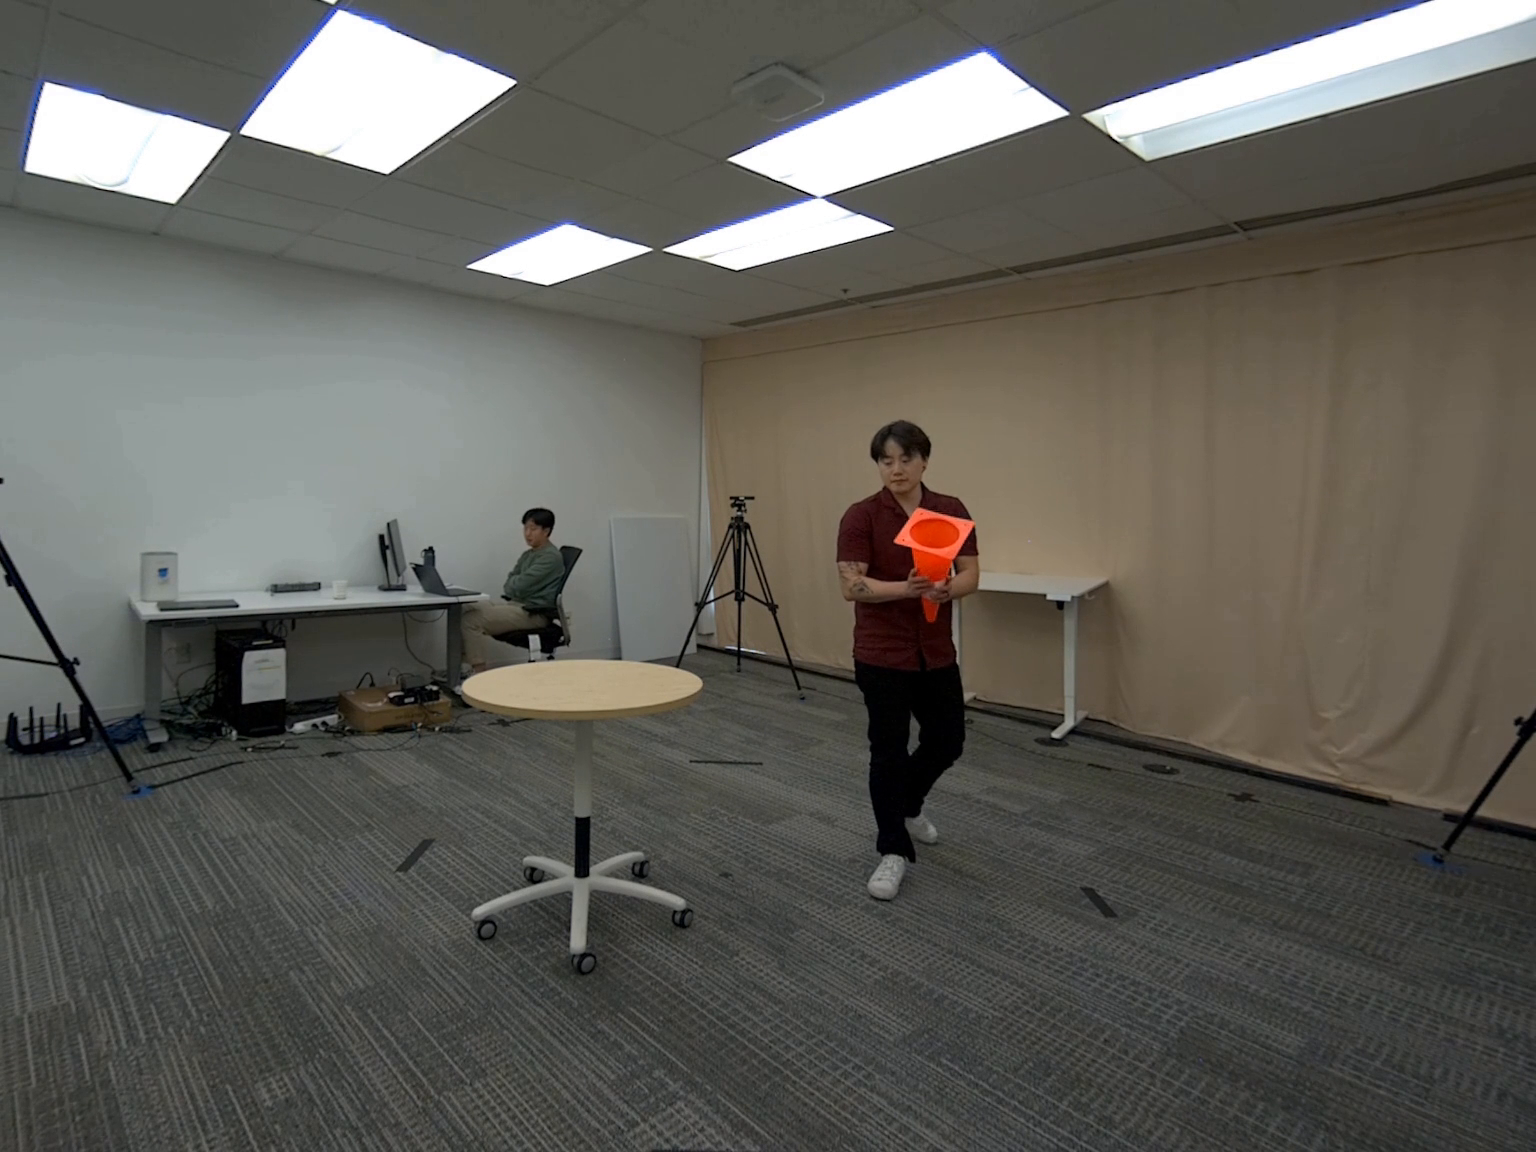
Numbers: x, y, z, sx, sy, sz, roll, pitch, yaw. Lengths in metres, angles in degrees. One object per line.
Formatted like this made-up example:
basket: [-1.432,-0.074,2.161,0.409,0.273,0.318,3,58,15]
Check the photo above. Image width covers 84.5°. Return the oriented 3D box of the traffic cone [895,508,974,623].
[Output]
traffic cone: [0.540,0.006,2.794,0.209,0.375,0.204,18,46,23]
